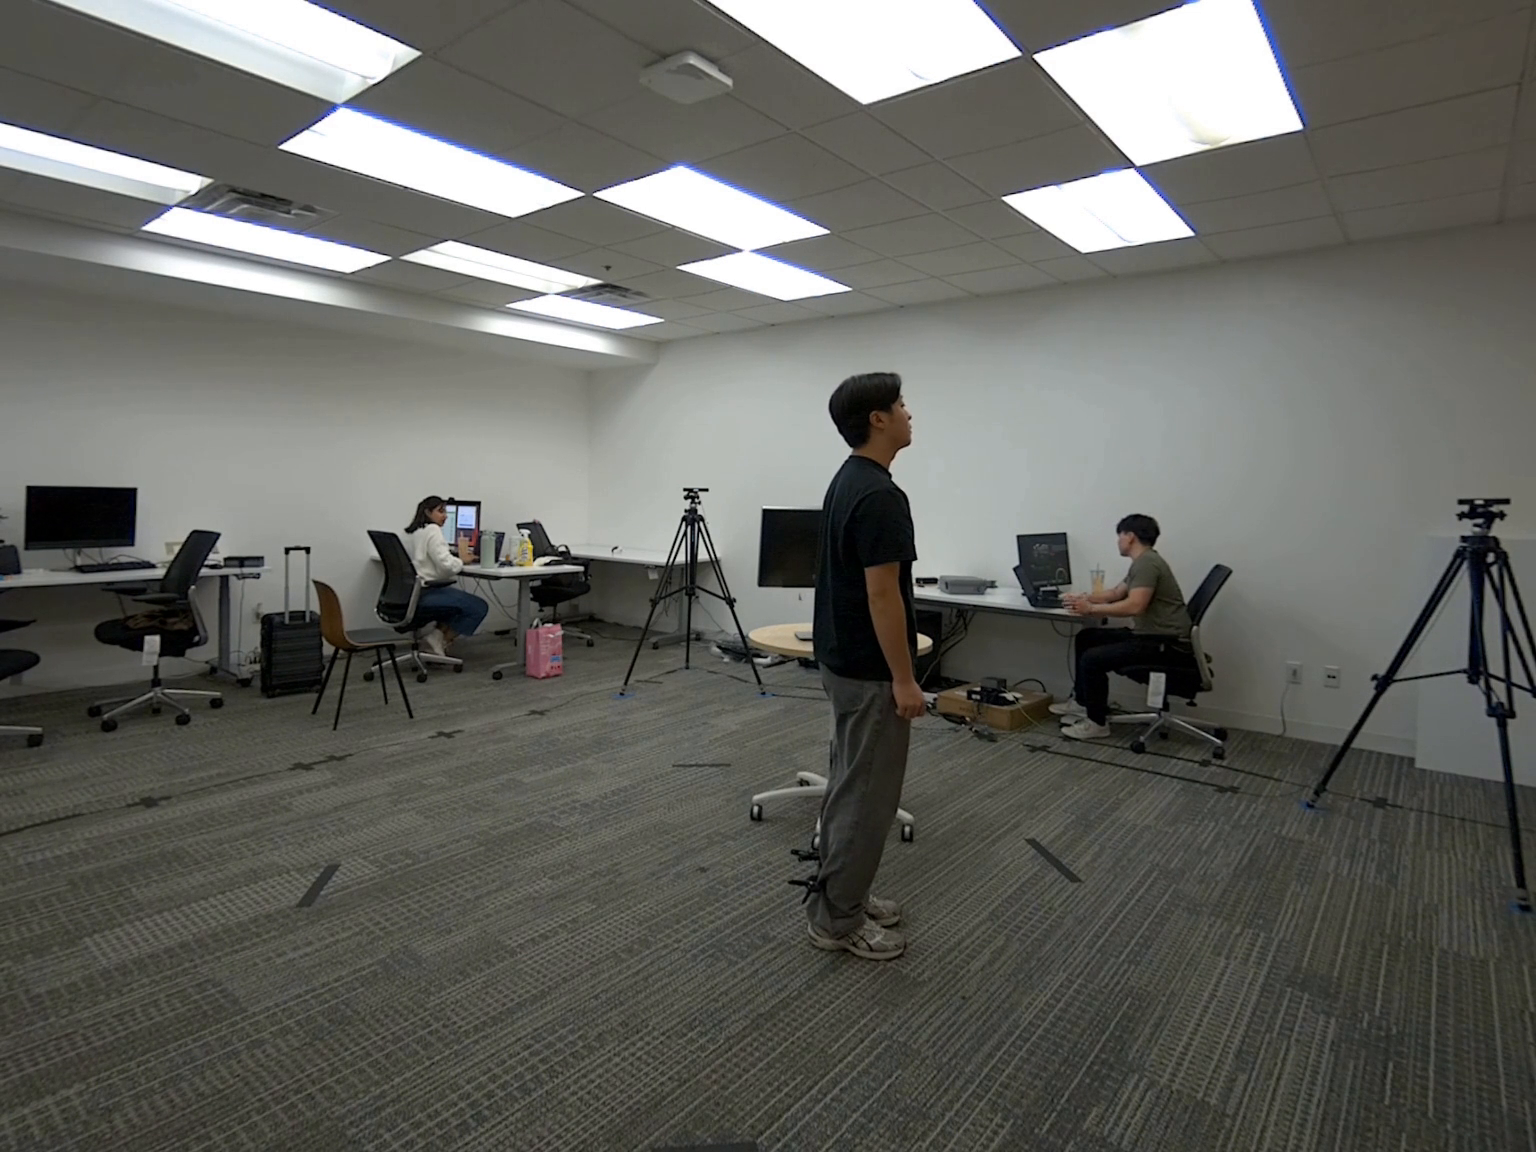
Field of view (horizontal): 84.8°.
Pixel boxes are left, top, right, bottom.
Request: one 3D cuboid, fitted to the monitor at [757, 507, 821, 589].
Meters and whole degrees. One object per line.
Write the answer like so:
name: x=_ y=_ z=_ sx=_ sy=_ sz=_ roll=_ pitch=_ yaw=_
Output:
monitor: x=0.232 y=-0.012 z=3.552 sx=0.561 sy=0.564 sz=0.223 roll=1 pitch=3 yaw=-1
